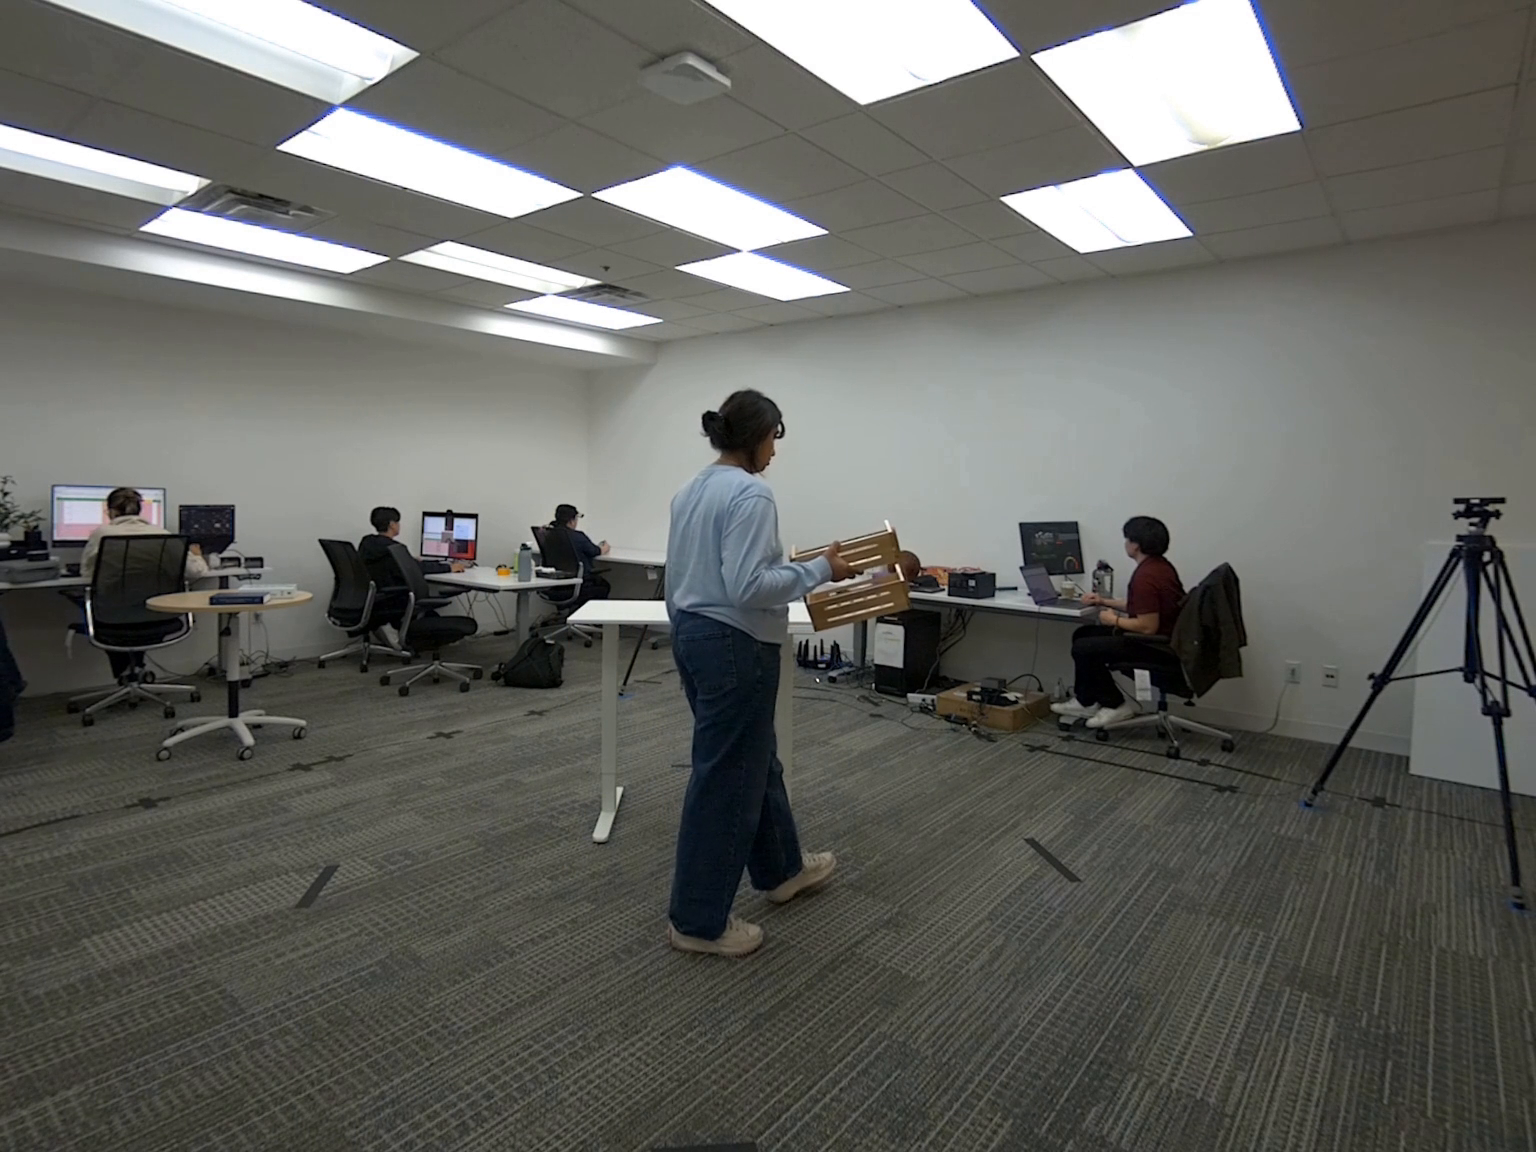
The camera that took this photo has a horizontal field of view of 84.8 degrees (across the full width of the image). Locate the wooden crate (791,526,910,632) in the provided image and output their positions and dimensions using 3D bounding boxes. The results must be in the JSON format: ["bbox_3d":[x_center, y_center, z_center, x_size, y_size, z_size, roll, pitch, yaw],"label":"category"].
[{"bbox_3d":[0.251,-0.018,2.641,0.326,0.269,0.305,-15,14,7],"label":"wooden crate"}]
